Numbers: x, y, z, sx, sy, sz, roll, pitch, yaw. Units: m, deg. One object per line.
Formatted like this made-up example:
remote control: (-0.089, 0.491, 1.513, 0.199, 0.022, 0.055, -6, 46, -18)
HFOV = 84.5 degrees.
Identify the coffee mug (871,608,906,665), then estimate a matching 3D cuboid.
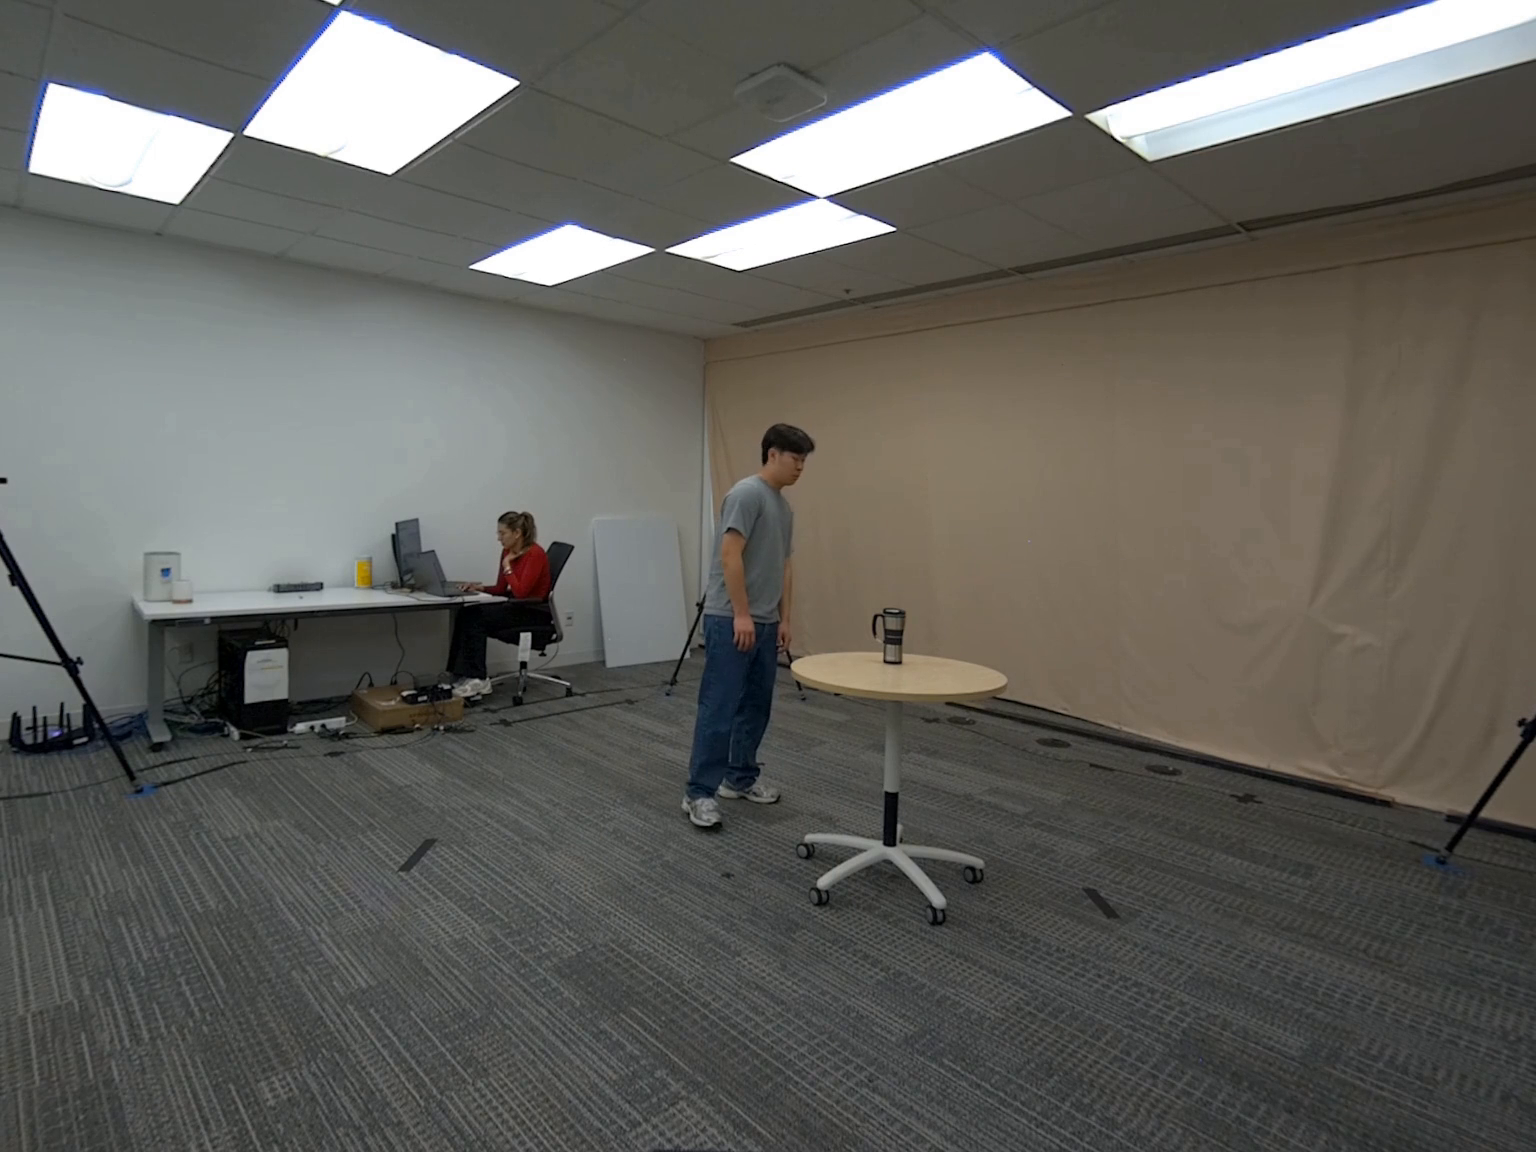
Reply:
coffee mug: (0.461, 0.231, 3.213, 0.086, 0.202, 0.125, -5, 10, -41)
